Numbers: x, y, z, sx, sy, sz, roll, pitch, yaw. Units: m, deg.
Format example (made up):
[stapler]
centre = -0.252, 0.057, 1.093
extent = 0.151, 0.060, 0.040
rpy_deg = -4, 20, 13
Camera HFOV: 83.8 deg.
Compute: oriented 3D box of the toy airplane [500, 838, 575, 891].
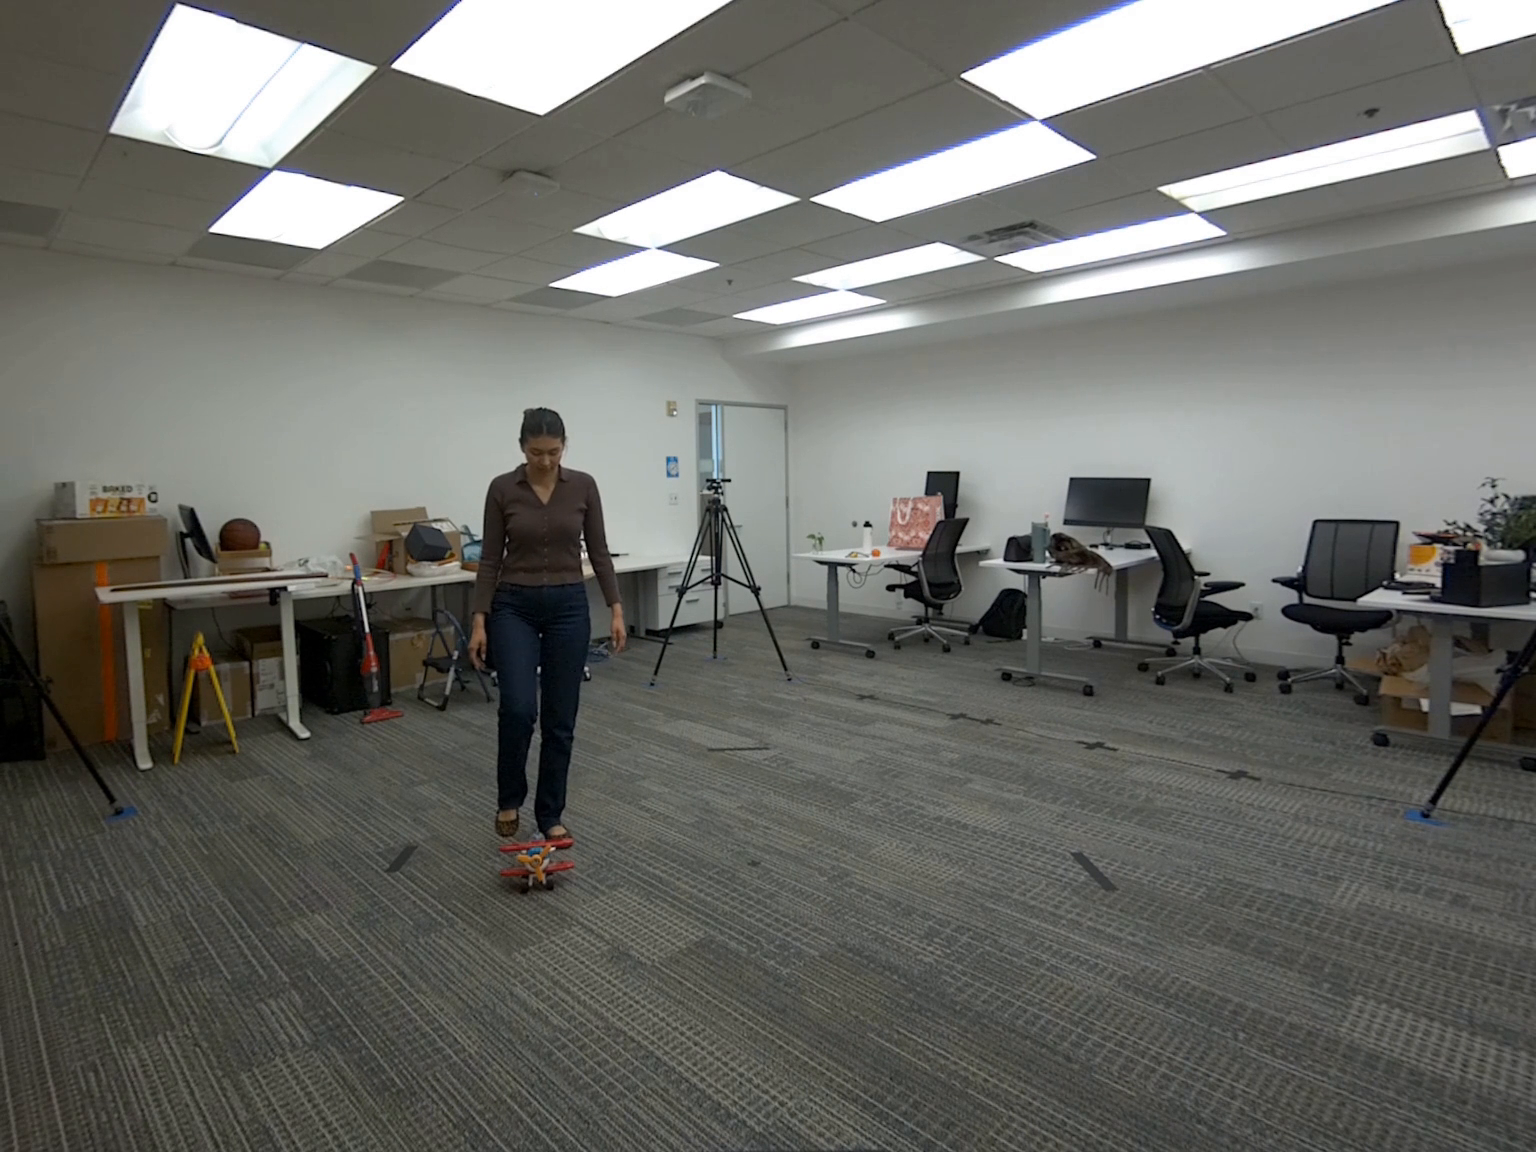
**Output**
[toy airplane]
centre = -0.829, 0.997, 3.011
extent = 0.244, 0.155, 0.267
rpy_deg = -6, 9, -40
